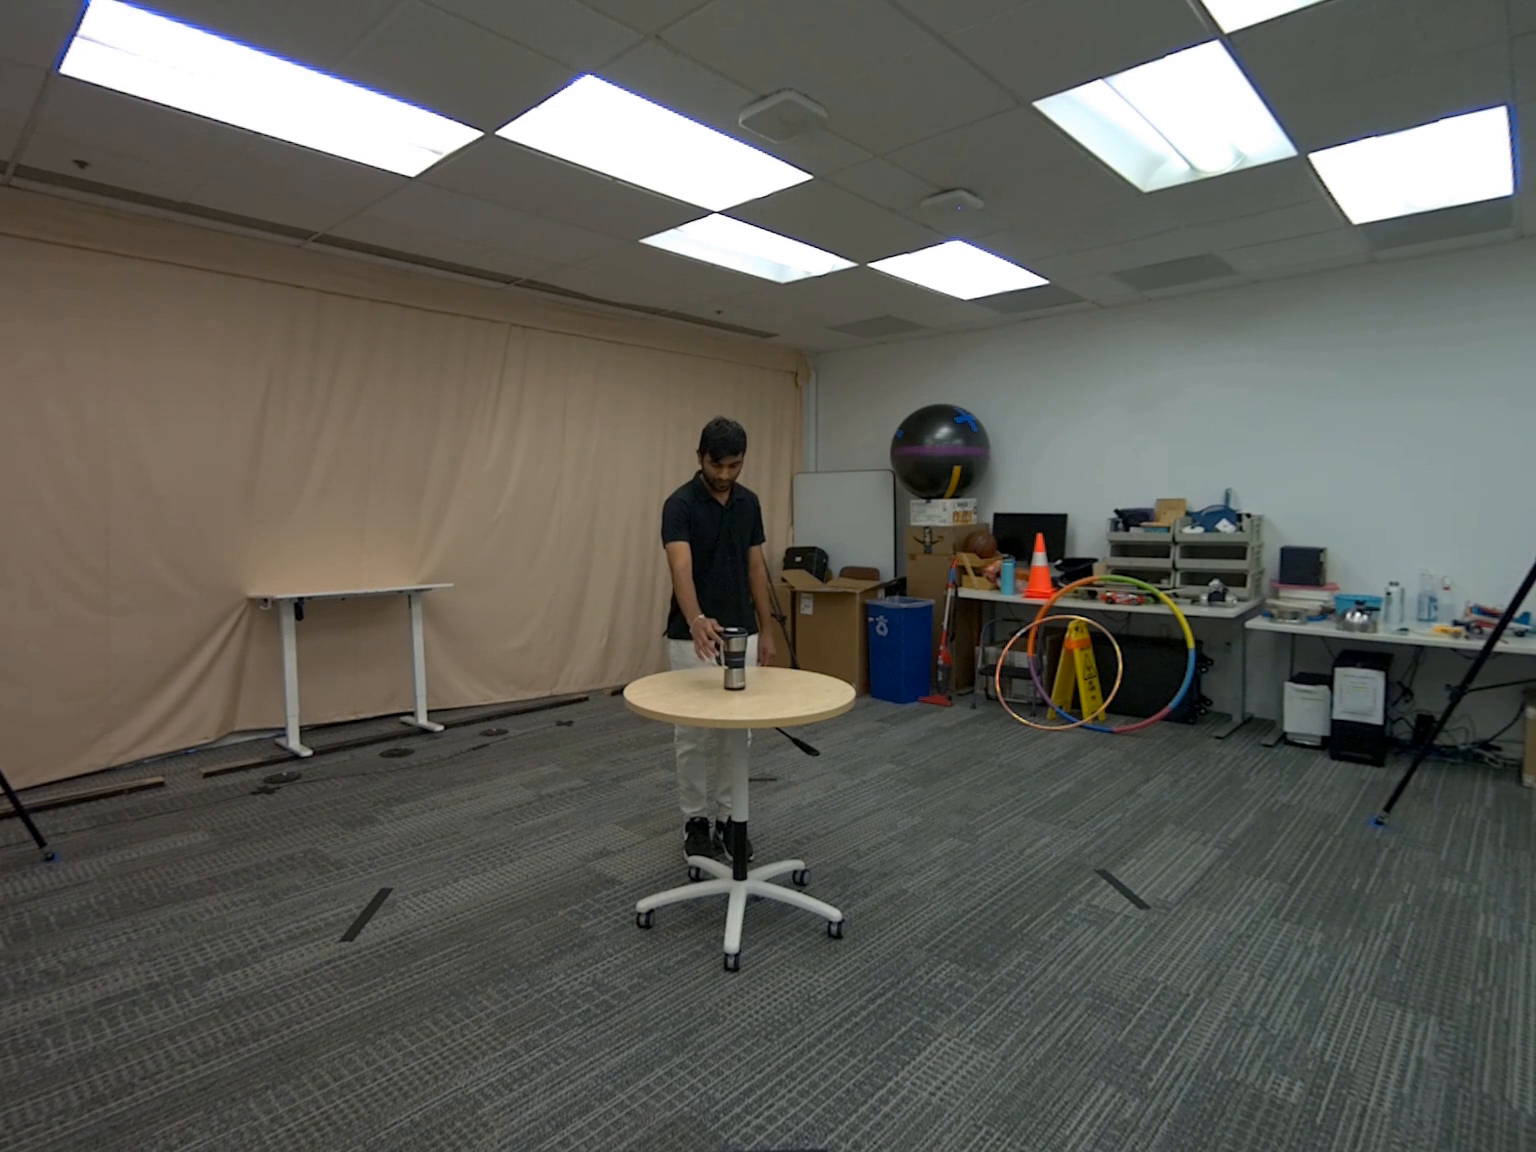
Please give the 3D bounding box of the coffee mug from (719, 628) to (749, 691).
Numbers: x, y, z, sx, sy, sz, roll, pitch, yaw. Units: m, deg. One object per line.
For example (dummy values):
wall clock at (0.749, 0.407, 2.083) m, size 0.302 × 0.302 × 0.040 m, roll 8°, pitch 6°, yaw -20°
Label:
coffee mug at (-0.128, 0.277, 2.815) m, size 0.126 × 0.202 × 0.085 m, roll 4°, pitch 10°, yaw 36°
